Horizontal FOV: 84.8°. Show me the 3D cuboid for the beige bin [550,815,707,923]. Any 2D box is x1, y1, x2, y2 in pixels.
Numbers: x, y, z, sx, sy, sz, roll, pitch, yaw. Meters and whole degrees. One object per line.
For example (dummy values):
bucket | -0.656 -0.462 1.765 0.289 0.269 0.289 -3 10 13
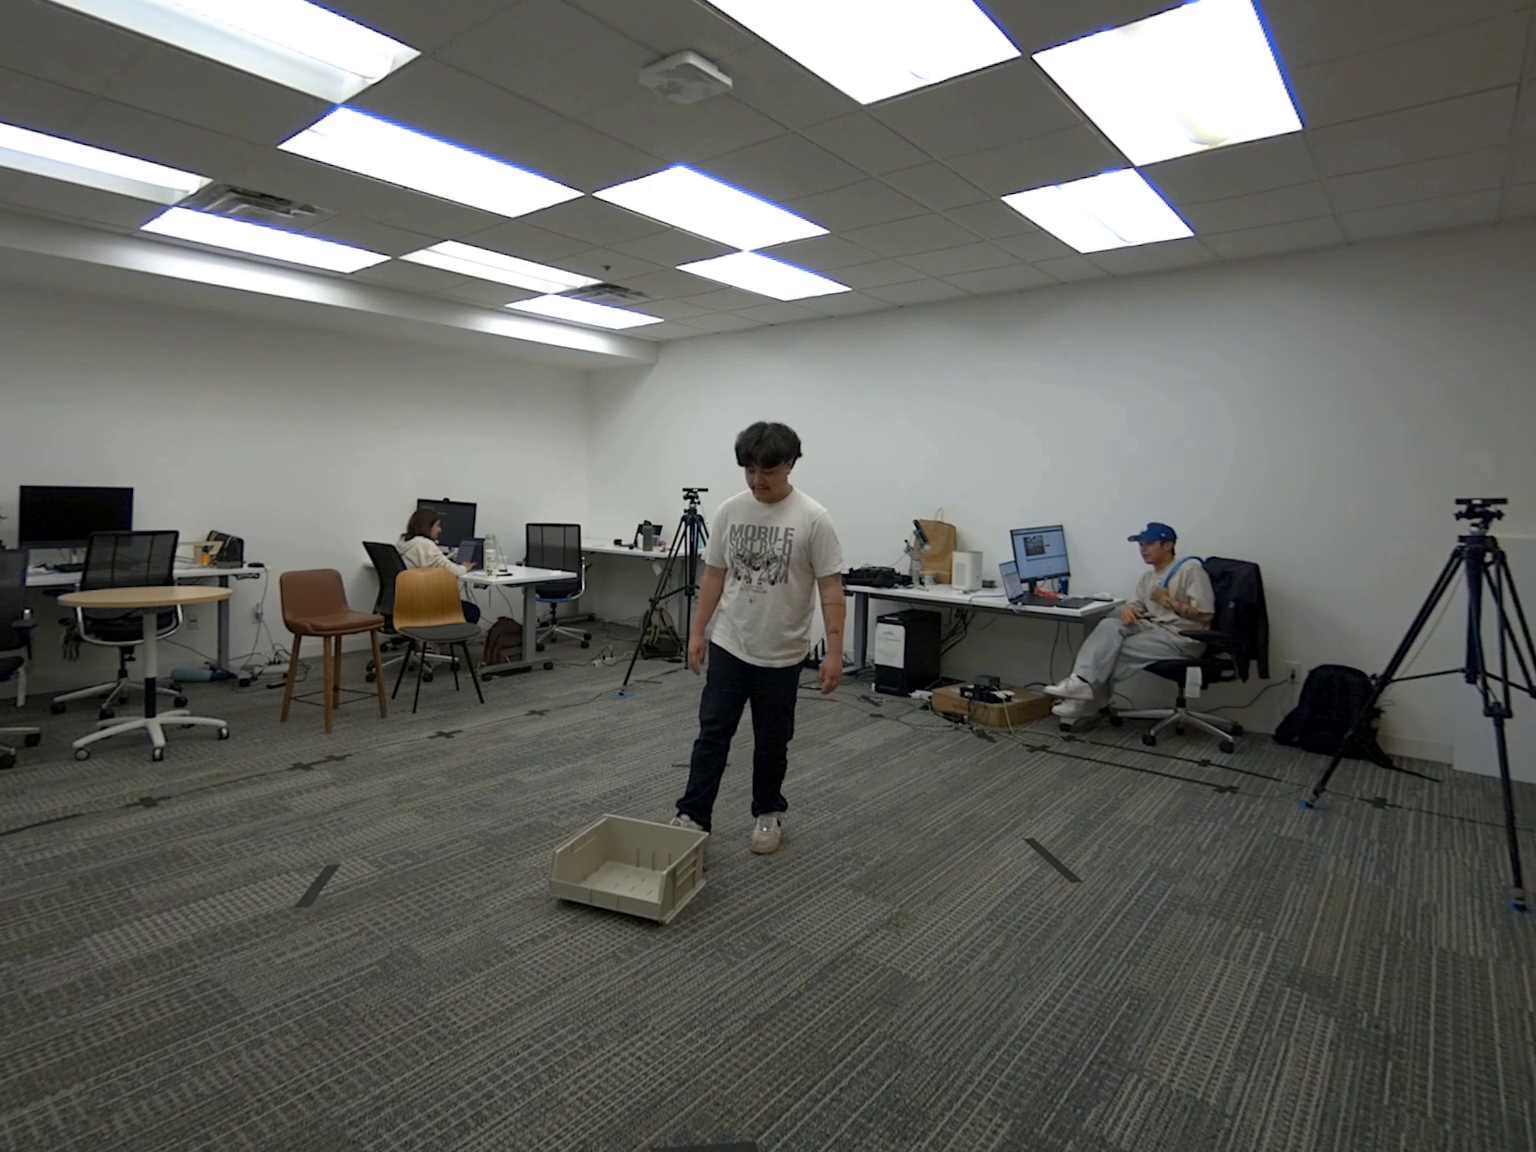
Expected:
beige bin | -0.475 0.995 2.906 0.432 0.188 0.370 2 4 21
